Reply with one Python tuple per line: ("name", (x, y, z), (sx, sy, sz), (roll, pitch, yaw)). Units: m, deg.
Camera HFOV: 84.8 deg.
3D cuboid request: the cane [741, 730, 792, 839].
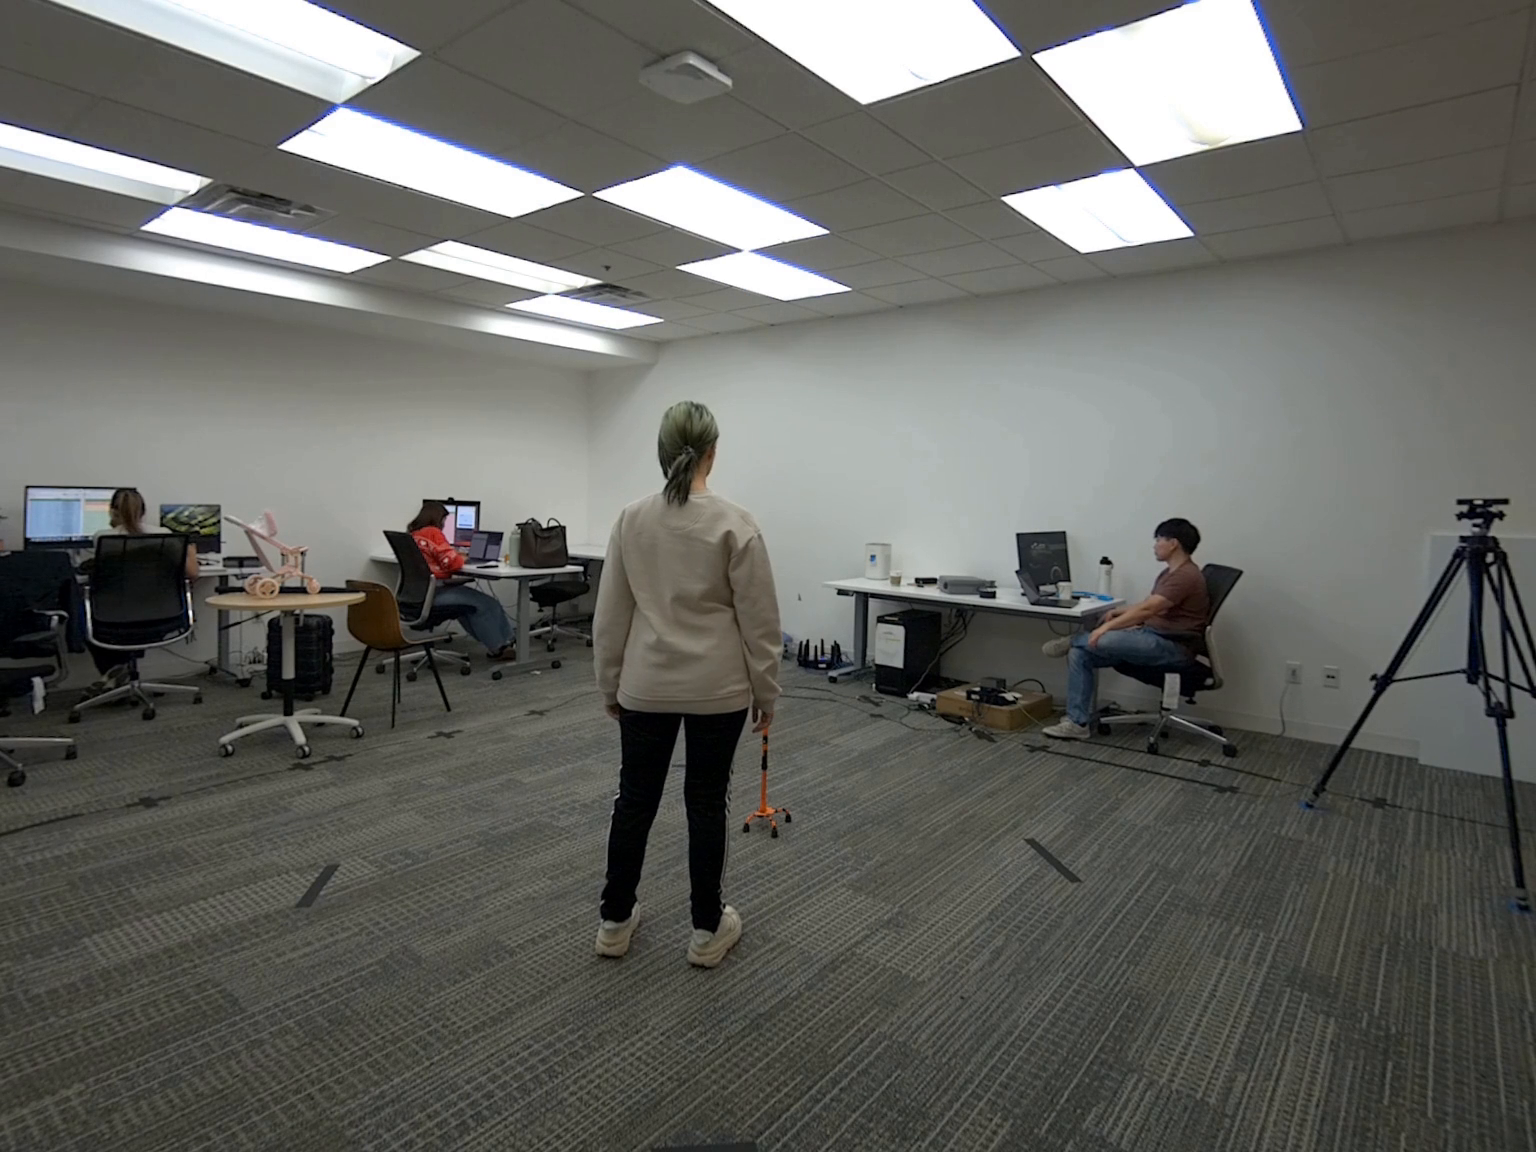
("cane", (0.000, 0.579, 3.503), (0.155, 0.906, 0.202), (2, 2, 19))
